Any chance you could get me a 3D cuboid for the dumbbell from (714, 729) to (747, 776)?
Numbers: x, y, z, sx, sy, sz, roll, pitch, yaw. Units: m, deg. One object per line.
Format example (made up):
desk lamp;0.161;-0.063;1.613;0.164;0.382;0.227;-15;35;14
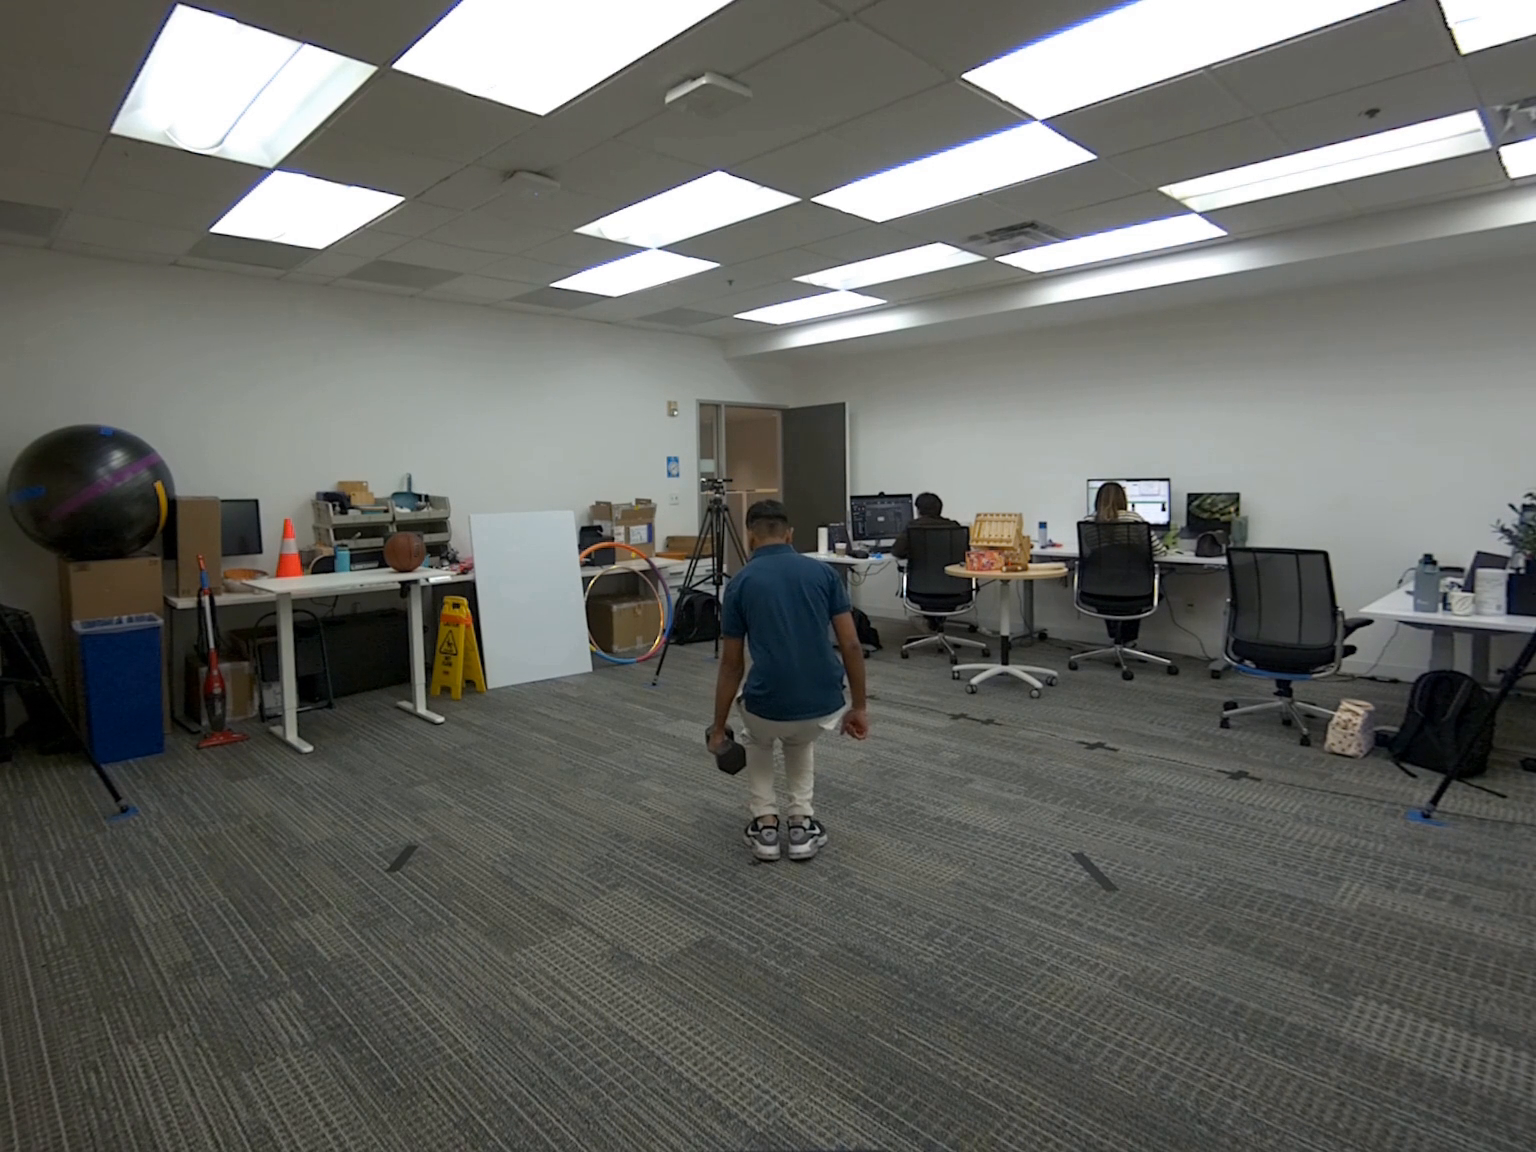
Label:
dumbbell;-0.162;0.653;3.310;0.107;0.122;0.299;-4;9;-13
